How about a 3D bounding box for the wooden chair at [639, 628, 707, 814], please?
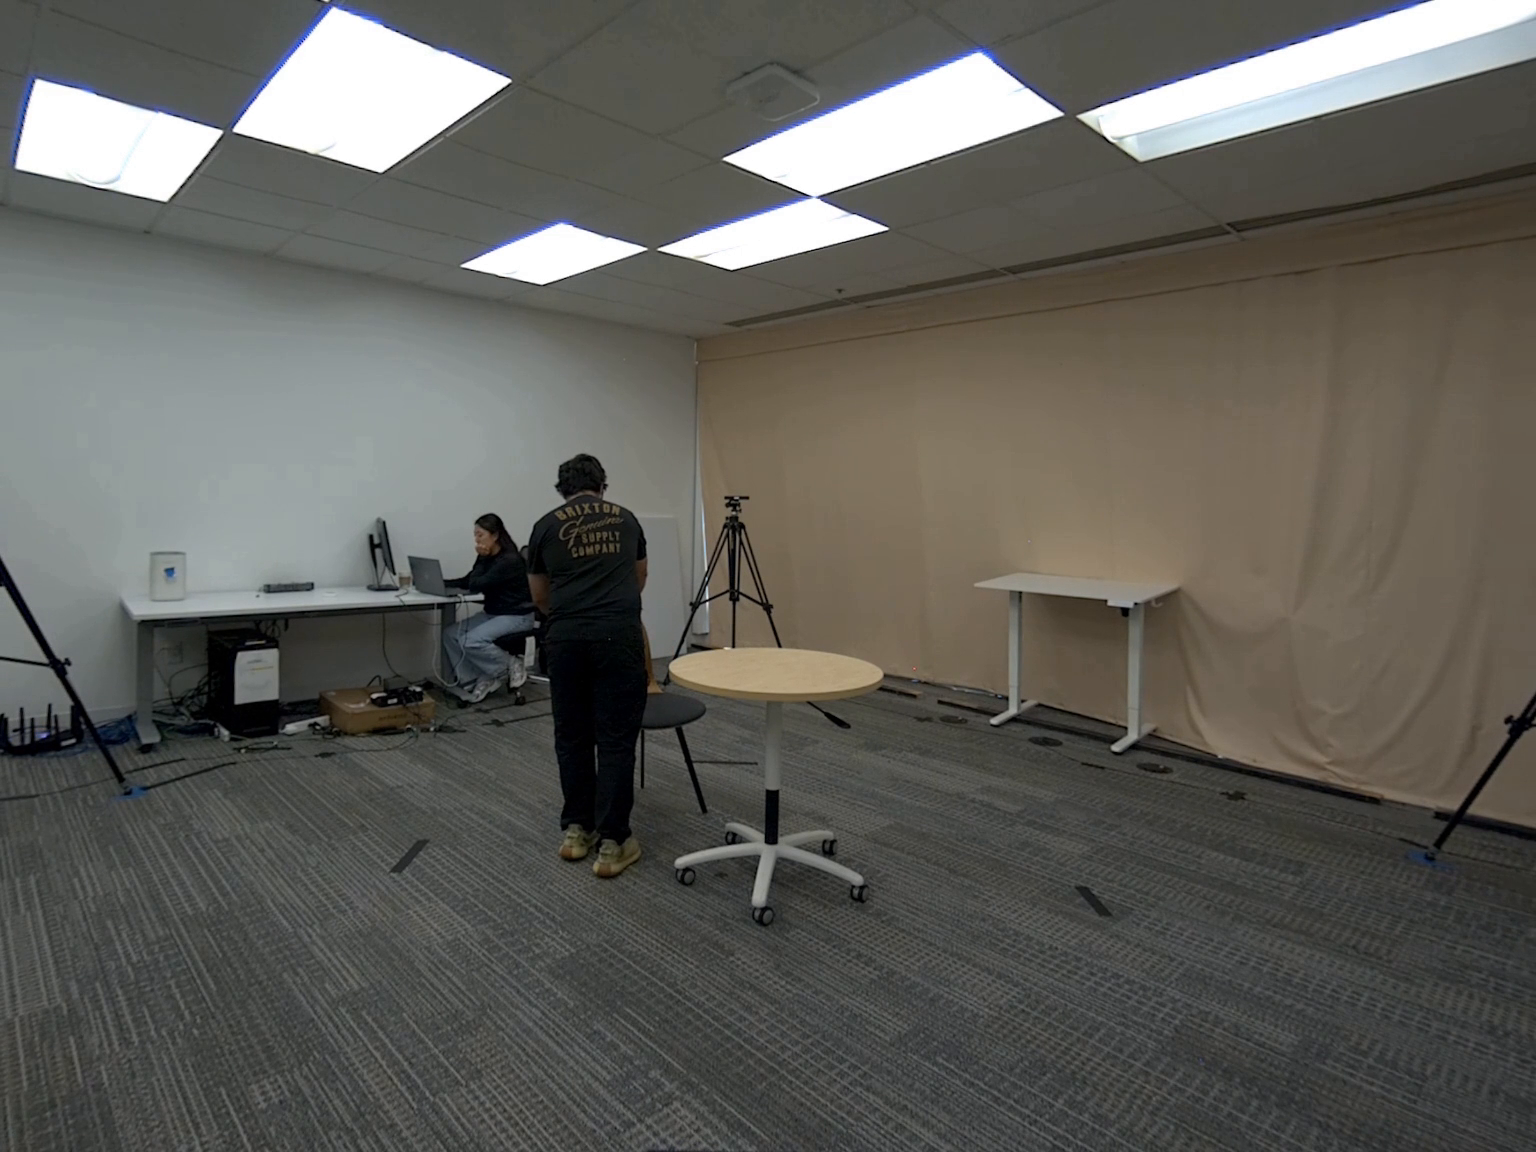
[{"bbox_3d":[-0.574,0.614,3.685,0.535,0.878,0.467,-2,-1,44],"label":"wooden chair"}]
